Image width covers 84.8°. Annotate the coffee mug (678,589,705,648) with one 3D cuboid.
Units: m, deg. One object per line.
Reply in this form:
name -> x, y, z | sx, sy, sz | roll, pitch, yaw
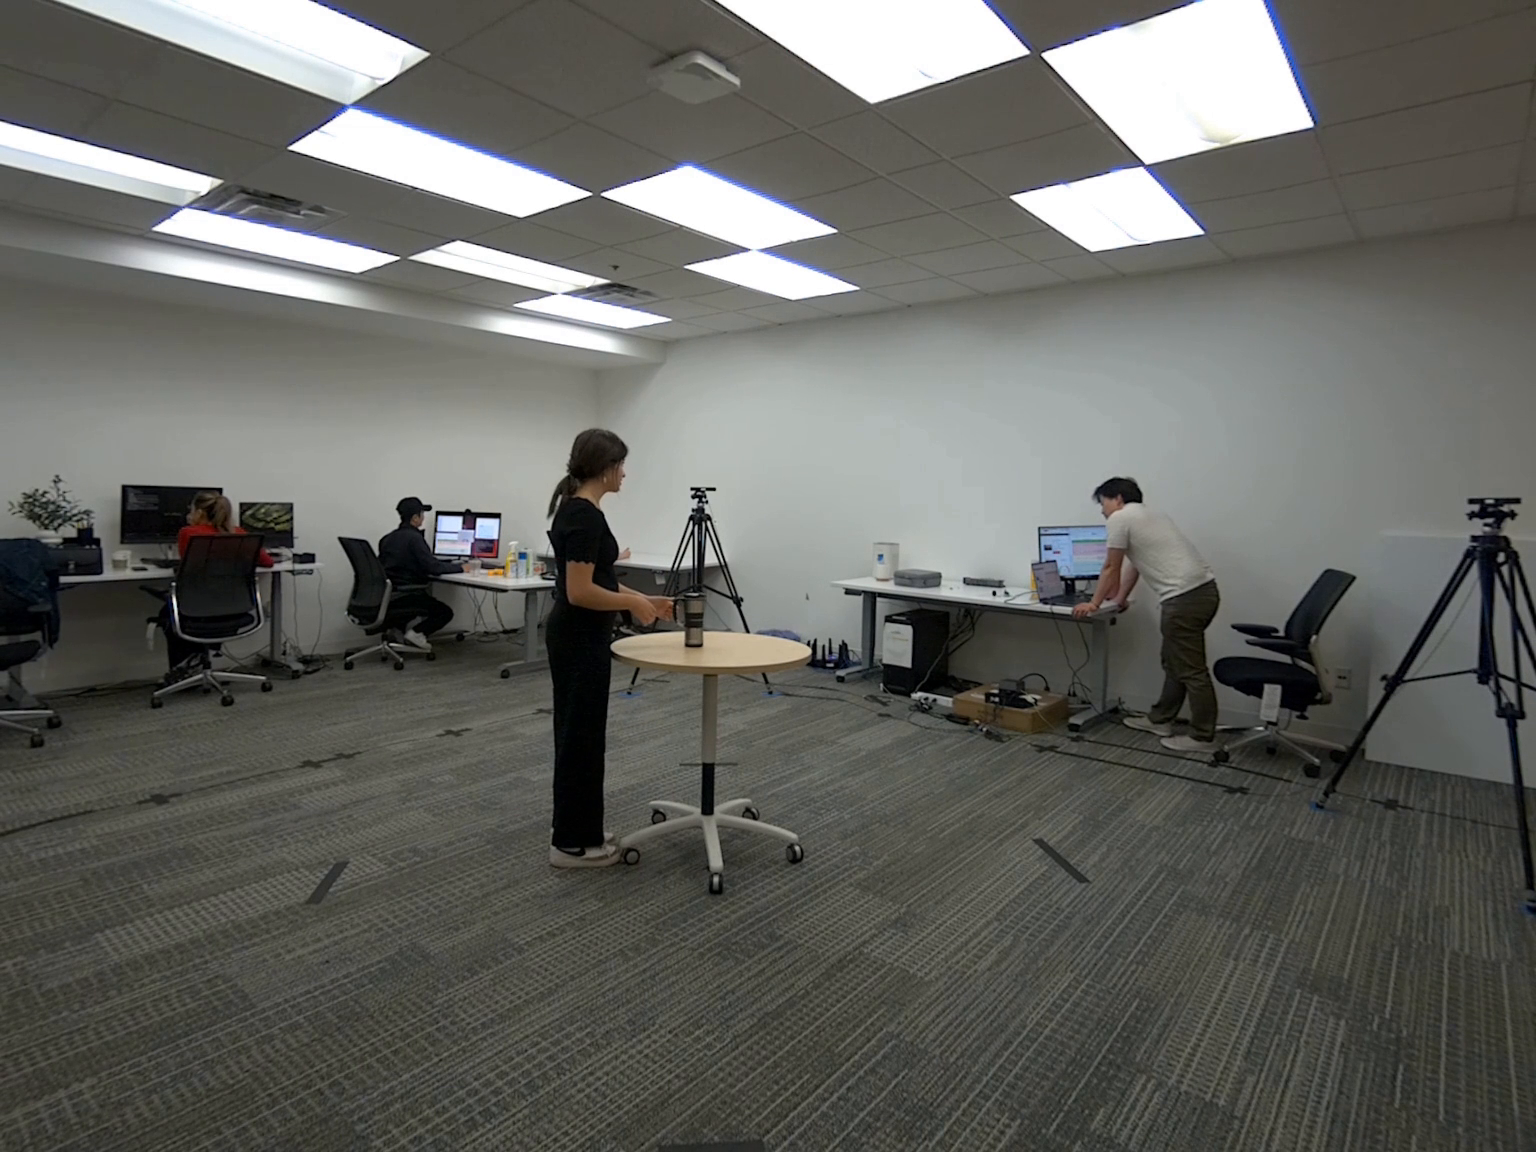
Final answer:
coffee mug -> -0.312, 0.171, 3.264 | 0.126, 0.201, 0.086 | 3, 10, 42
